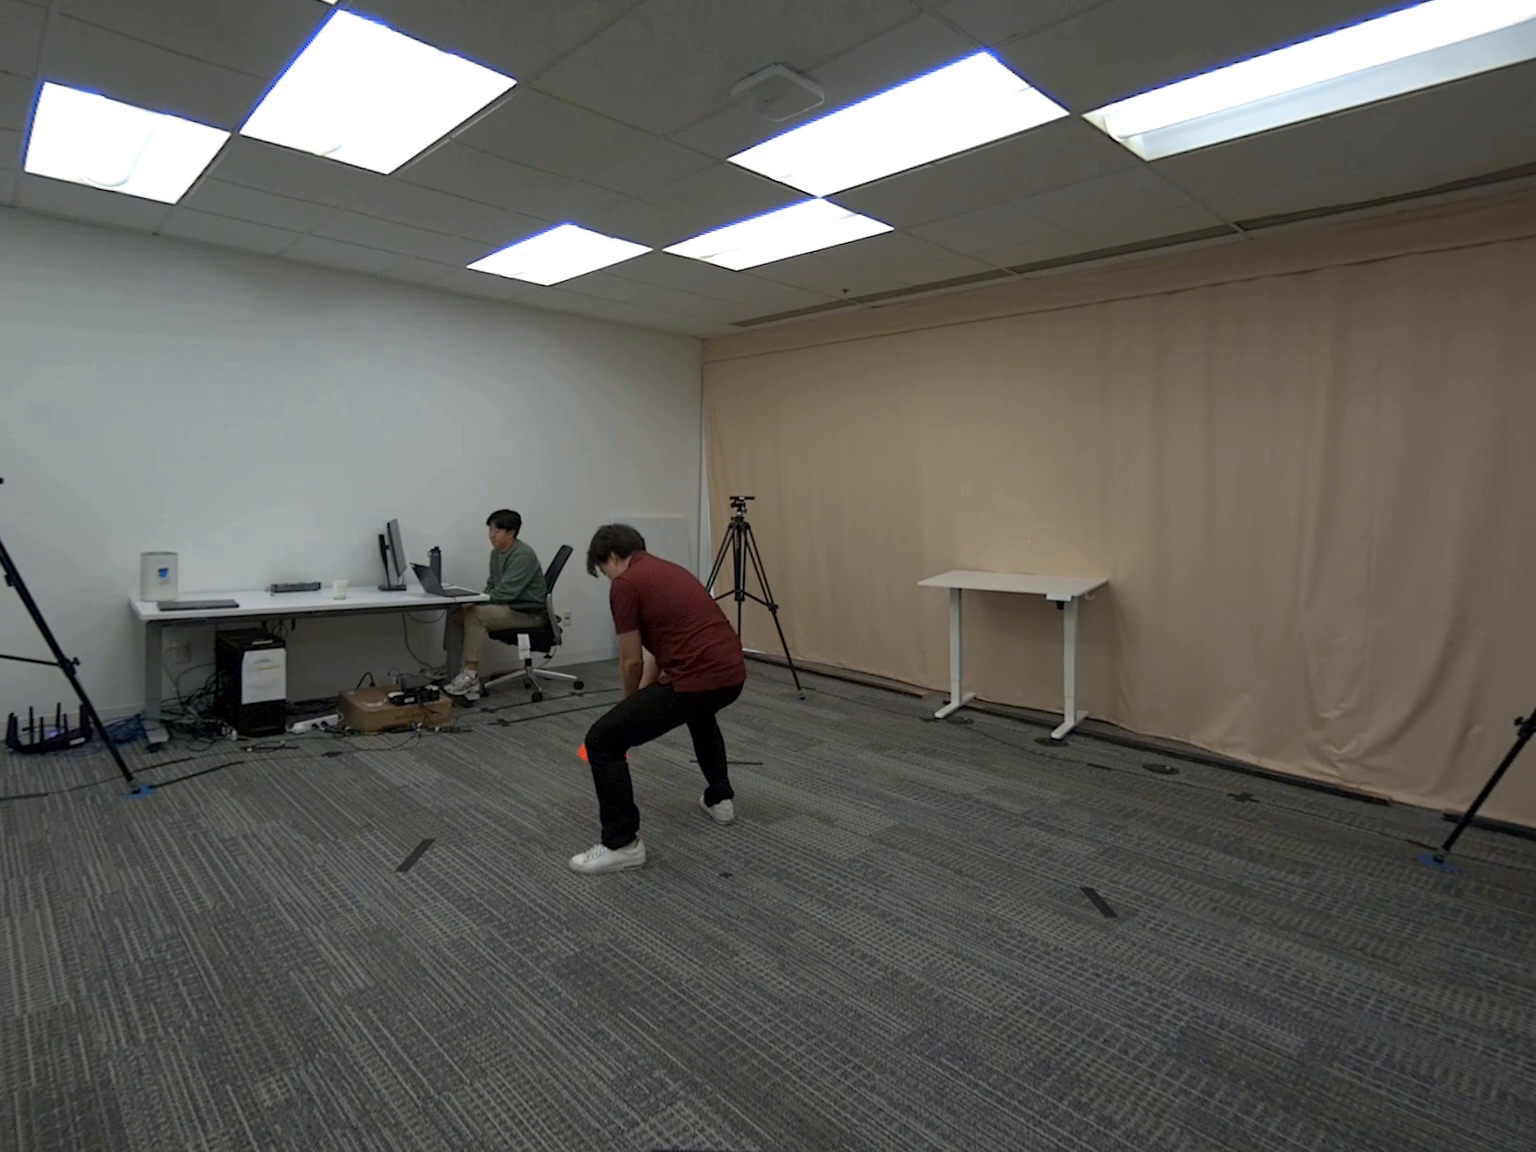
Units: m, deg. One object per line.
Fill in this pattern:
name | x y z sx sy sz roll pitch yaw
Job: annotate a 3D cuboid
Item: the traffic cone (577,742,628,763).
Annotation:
traffic cone | -0.642 0.638 3.562 0.205 0.382 0.205 31 25 -2
